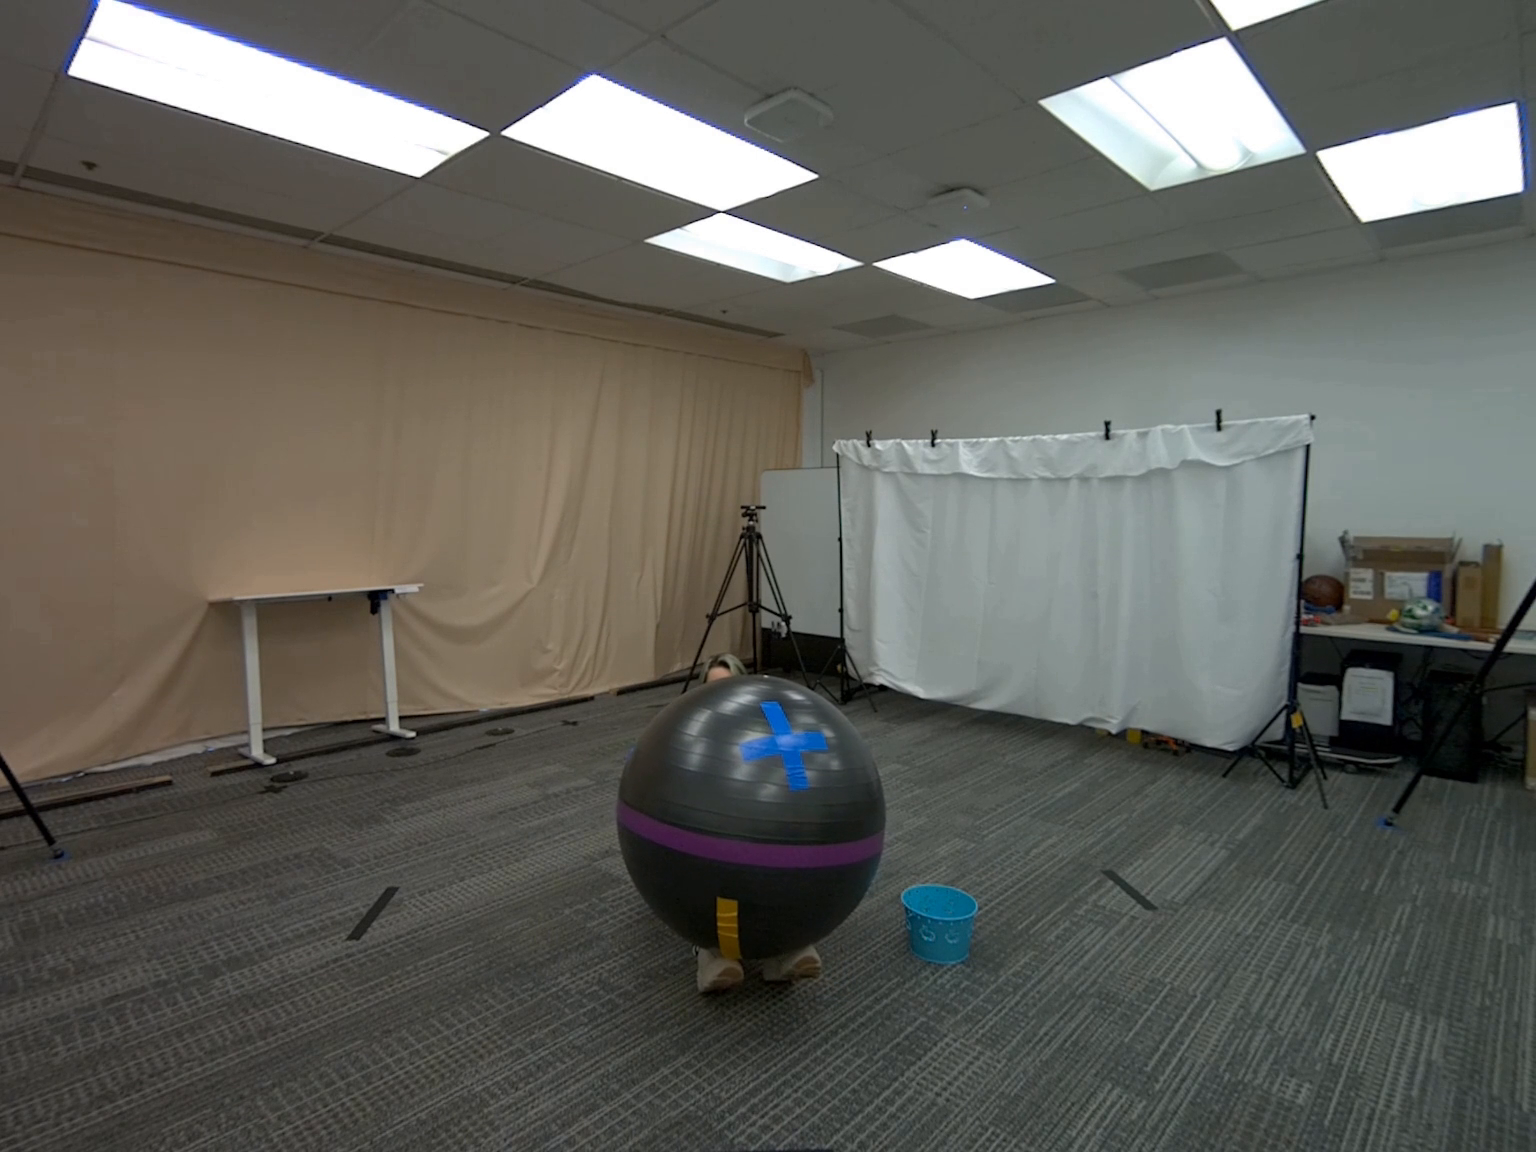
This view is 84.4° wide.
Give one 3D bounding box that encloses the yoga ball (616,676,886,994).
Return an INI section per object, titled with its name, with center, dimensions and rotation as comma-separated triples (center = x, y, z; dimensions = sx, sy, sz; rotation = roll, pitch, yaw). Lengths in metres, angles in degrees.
[yoga ball]
center = -0.042, 0.674, 2.361
dimensions = 0.757, 0.756, 0.761
rotation = 0, 4, -2
